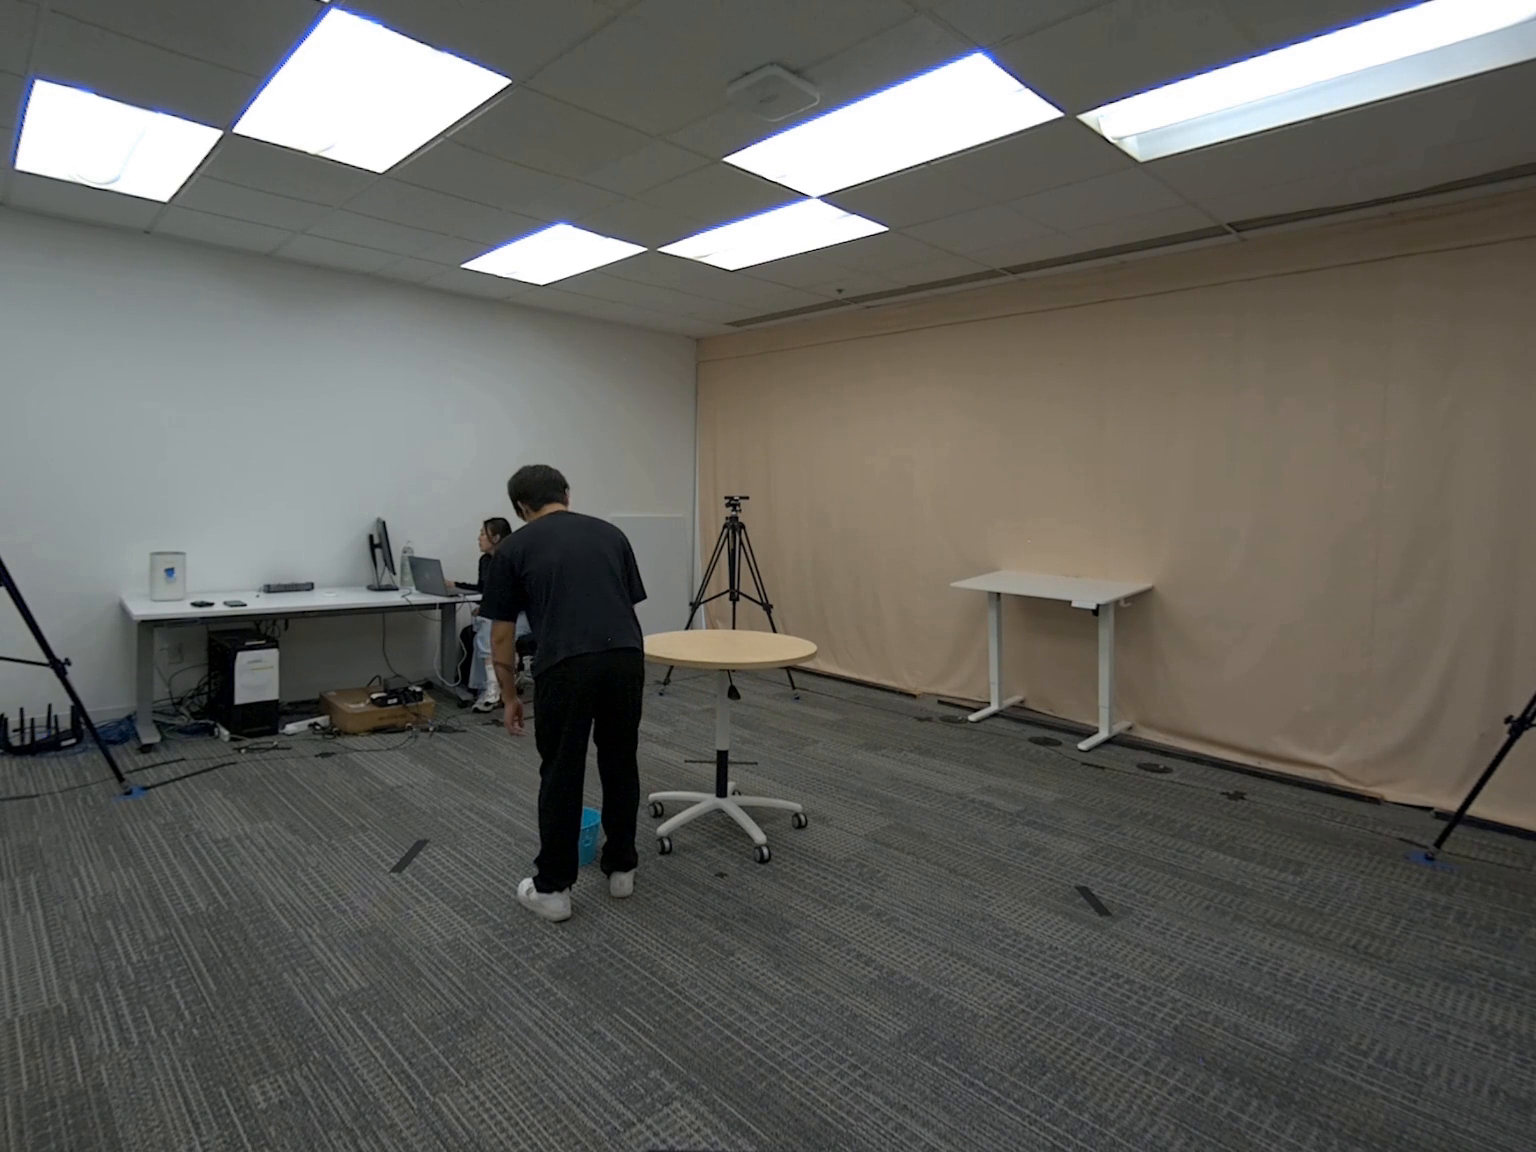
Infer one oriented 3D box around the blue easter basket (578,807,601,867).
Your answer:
[{"bbox_3d":[-0.756,1.001,3.231,0.243,0.155,0.244,3,4,-2],"label":"blue easter basket"}]
